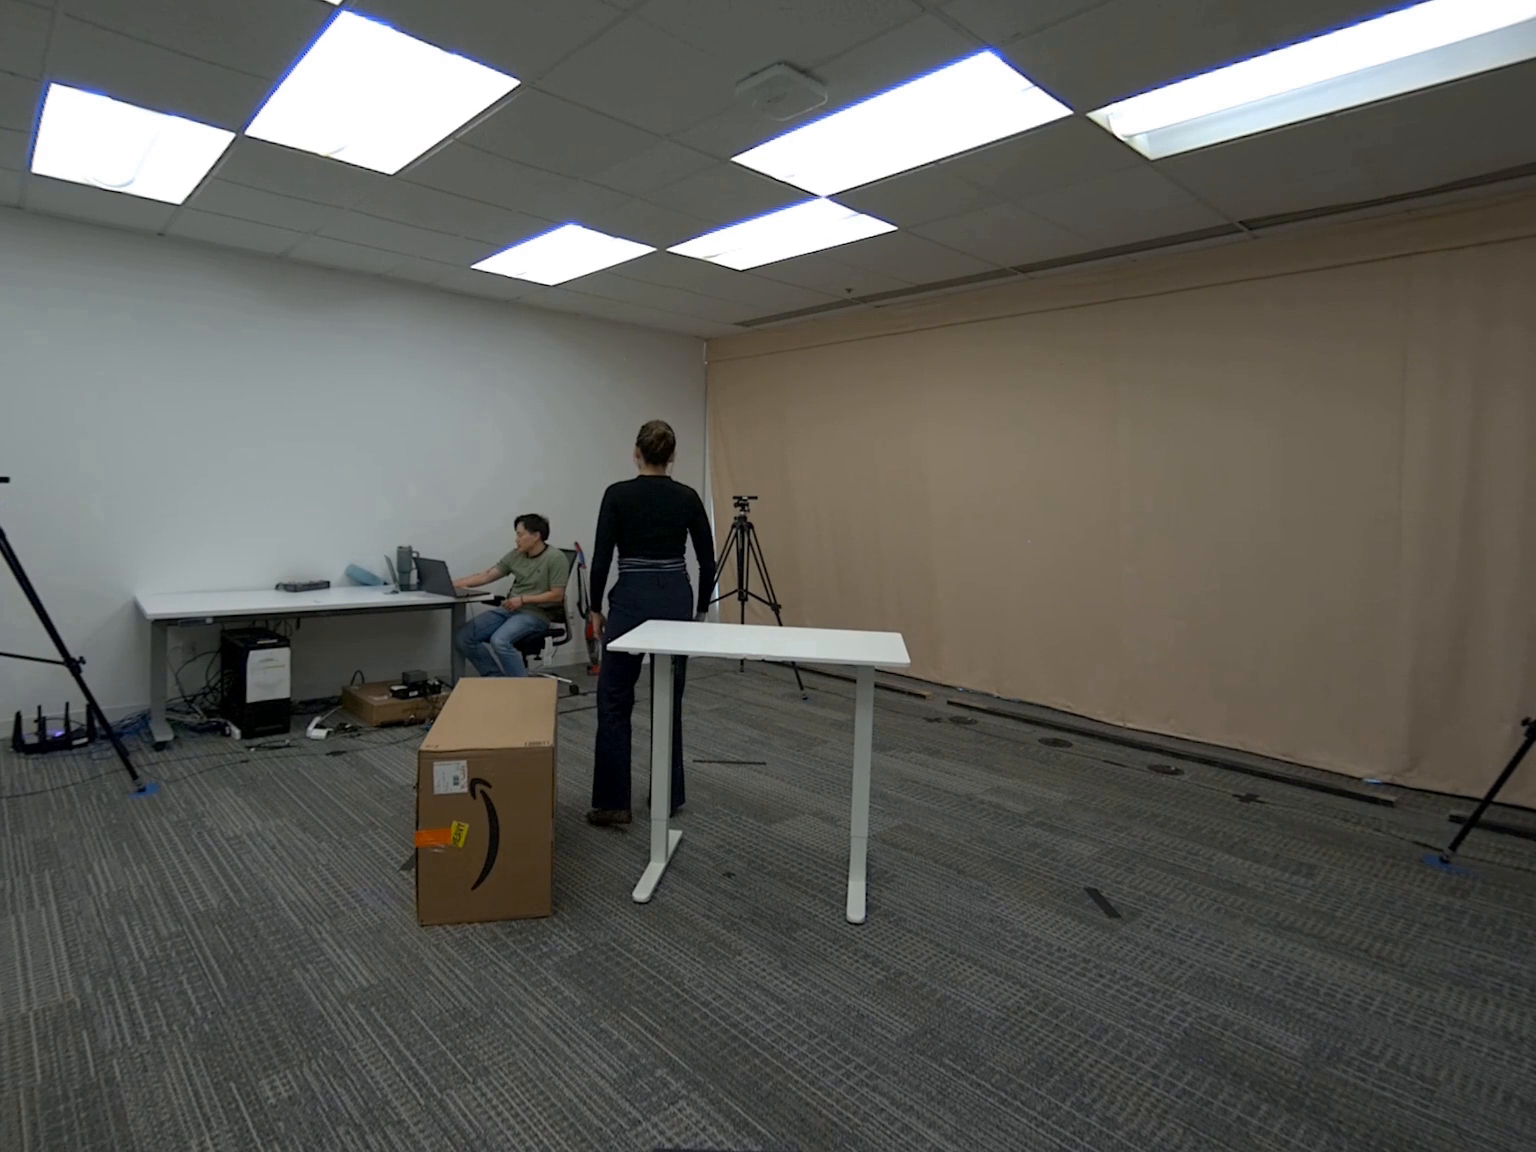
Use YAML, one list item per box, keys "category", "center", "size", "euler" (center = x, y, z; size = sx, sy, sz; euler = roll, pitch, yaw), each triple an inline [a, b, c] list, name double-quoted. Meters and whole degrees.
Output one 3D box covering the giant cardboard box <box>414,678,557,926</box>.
- category: "giant cardboard box"
  center: [-1.039, 0.785, 3.200]
  size: [0.422, 0.576, 1.039]
  euler: [0, 5, -13]
